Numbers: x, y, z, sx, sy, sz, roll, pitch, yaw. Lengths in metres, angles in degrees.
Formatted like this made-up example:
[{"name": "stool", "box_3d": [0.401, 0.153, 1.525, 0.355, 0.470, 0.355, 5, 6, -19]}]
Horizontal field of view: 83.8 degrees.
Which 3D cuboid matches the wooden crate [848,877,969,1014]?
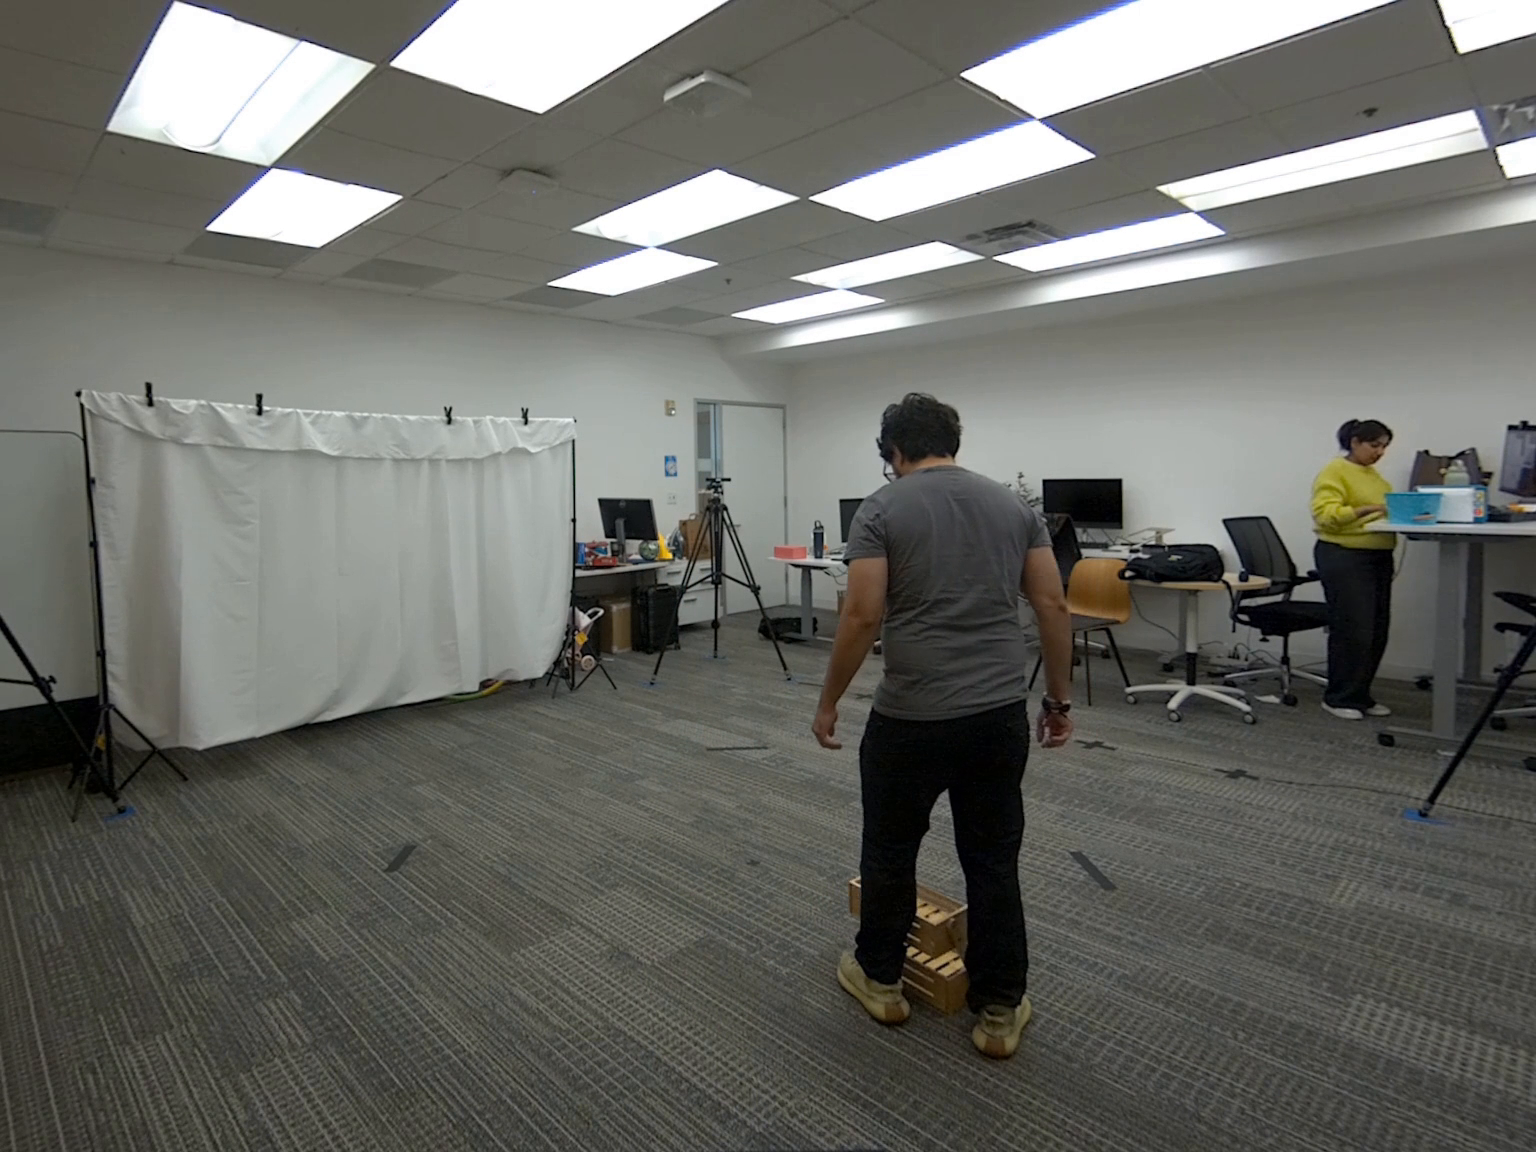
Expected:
[{"name": "wooden crate", "box_3d": [0.450, 0.986, 2.382, 0.294, 0.272, 0.334, -6, 8, -40]}]
